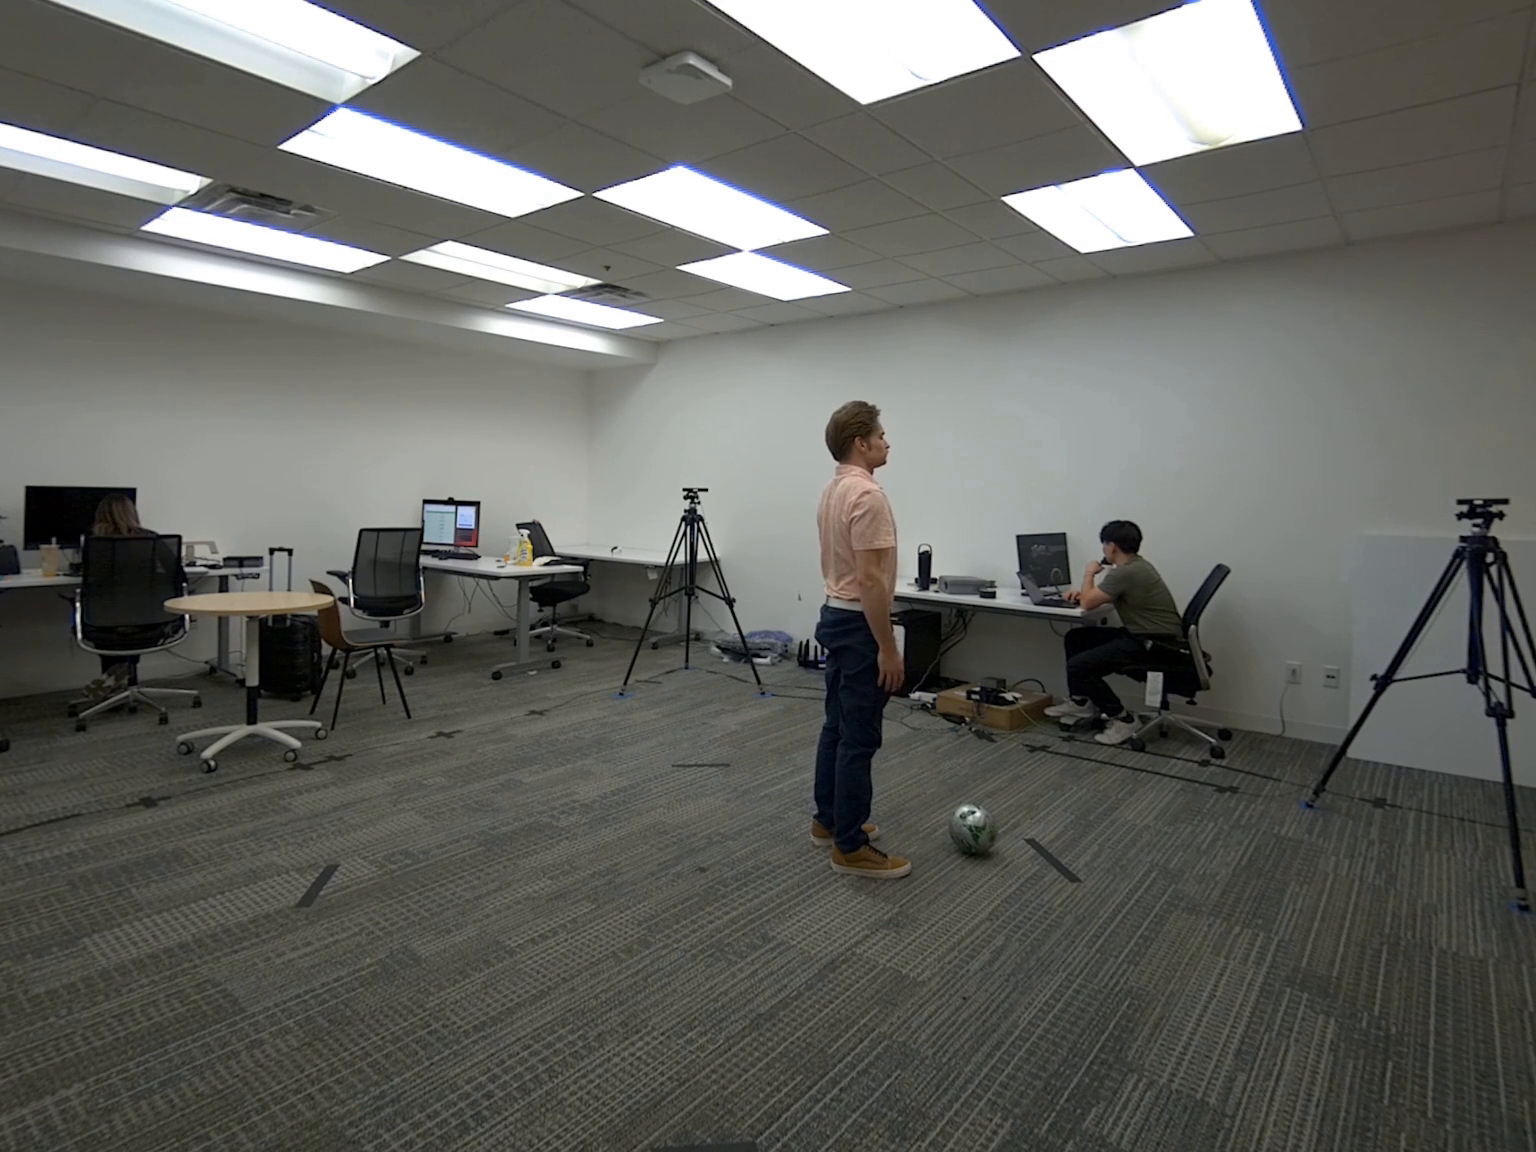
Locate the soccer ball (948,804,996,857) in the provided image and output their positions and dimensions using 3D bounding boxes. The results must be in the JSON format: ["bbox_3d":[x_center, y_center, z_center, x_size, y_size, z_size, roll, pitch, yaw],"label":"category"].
[{"bbox_3d":[0.802,0.986,3.319,0.187,0.187,0.188,1,4,-2],"label":"soccer ball"}]
